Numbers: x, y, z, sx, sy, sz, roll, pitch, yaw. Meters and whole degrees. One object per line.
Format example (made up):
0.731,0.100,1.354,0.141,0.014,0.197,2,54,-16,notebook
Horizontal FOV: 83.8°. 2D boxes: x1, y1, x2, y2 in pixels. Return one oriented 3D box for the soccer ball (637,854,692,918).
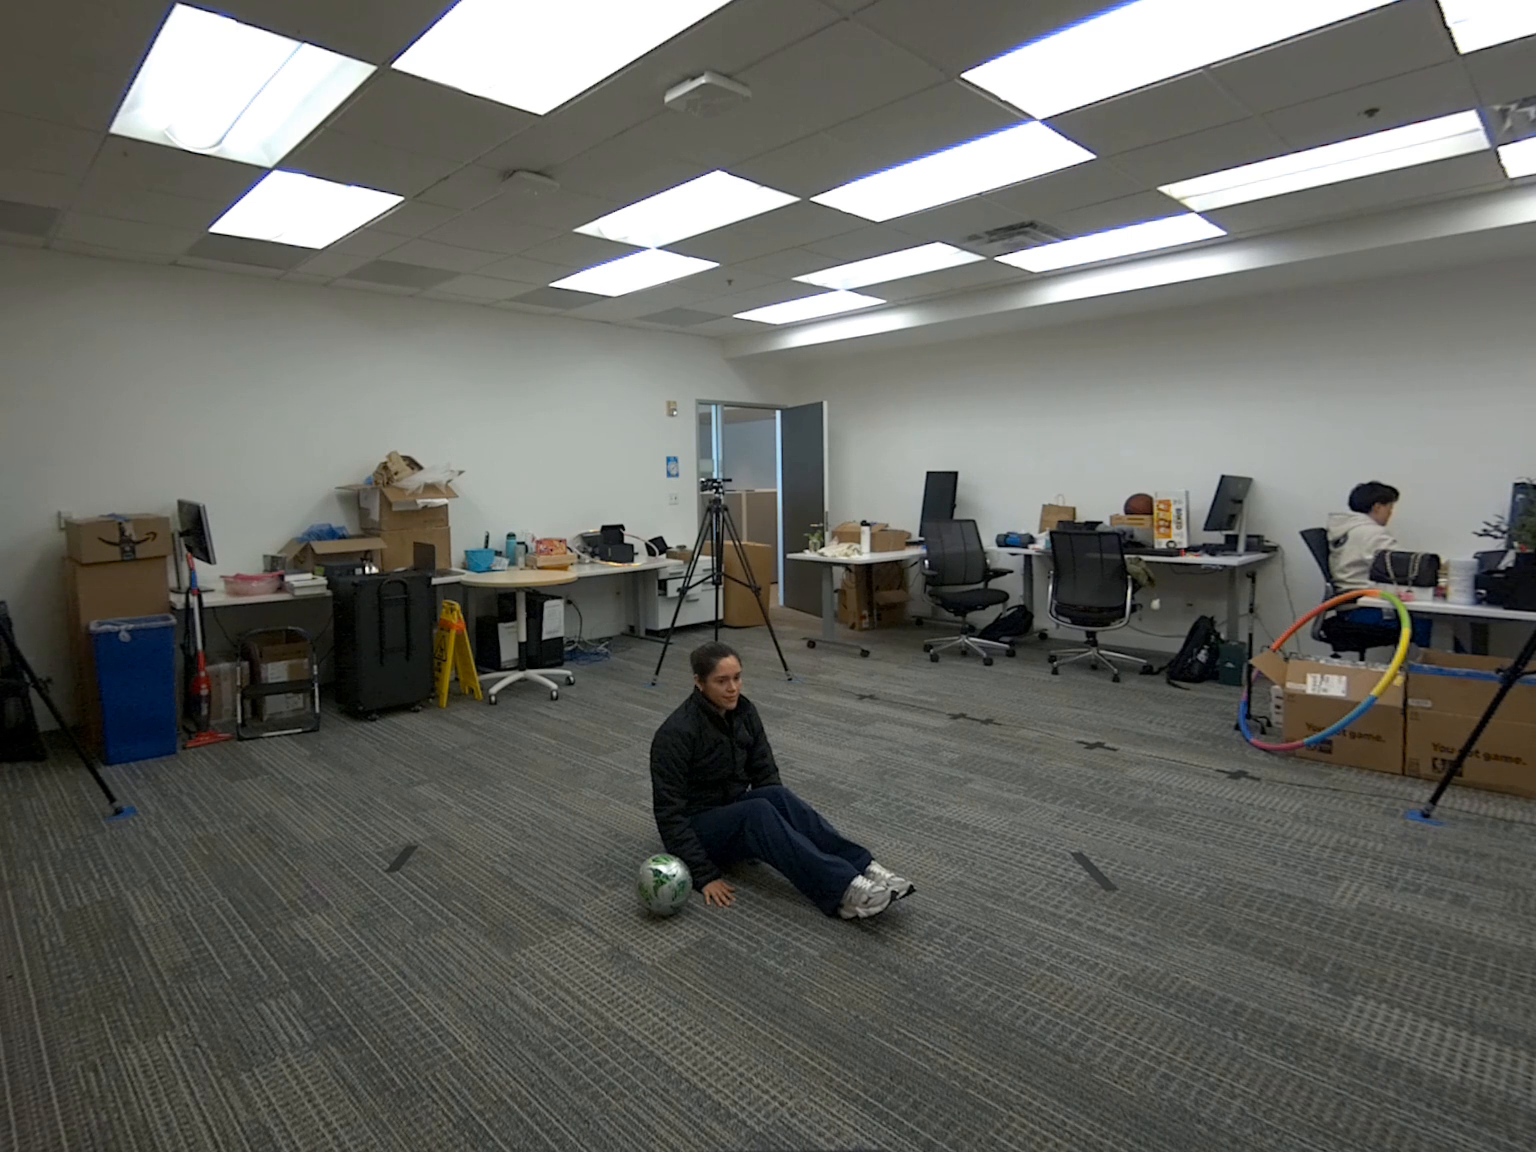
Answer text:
-0.335,0.999,2.761,0.187,0.187,0.188,-1,5,-2,soccer ball
